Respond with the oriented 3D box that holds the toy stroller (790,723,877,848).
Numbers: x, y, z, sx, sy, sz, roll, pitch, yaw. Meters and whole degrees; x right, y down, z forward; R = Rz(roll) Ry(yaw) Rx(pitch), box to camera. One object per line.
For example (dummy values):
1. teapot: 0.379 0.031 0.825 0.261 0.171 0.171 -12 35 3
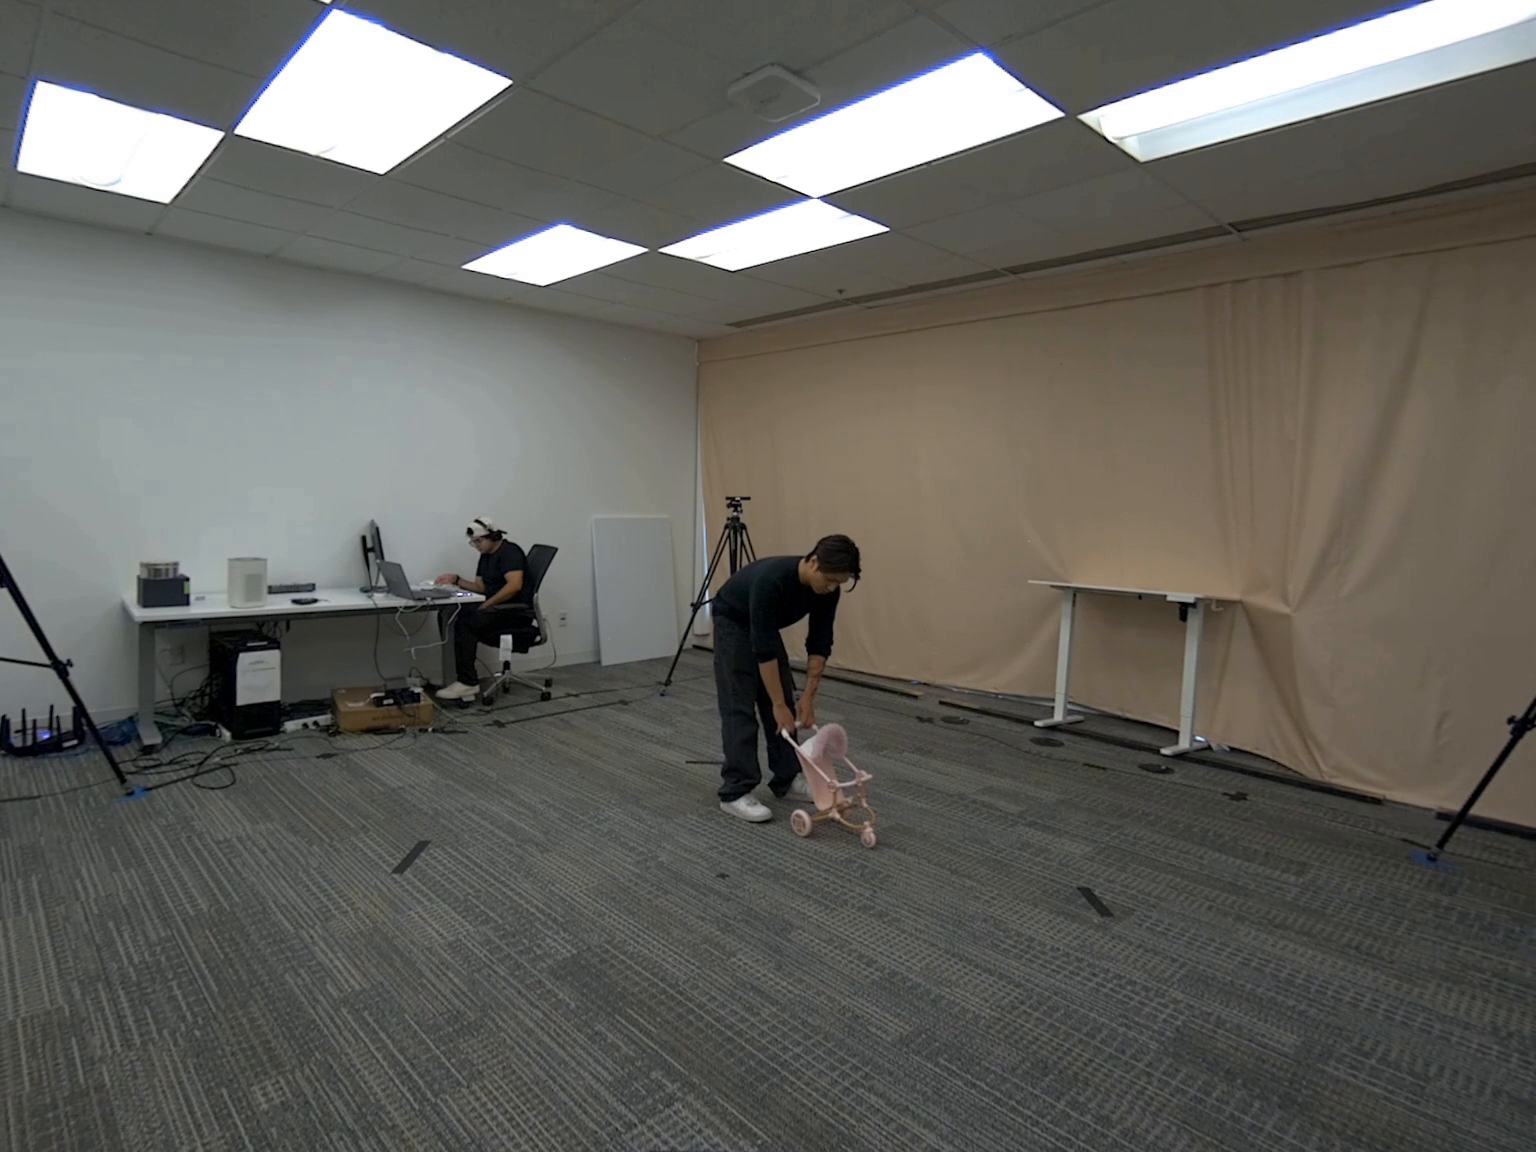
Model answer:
1. toy stroller: 0.261 0.858 3.523 0.275 0.539 0.346 -2 -12 -41
